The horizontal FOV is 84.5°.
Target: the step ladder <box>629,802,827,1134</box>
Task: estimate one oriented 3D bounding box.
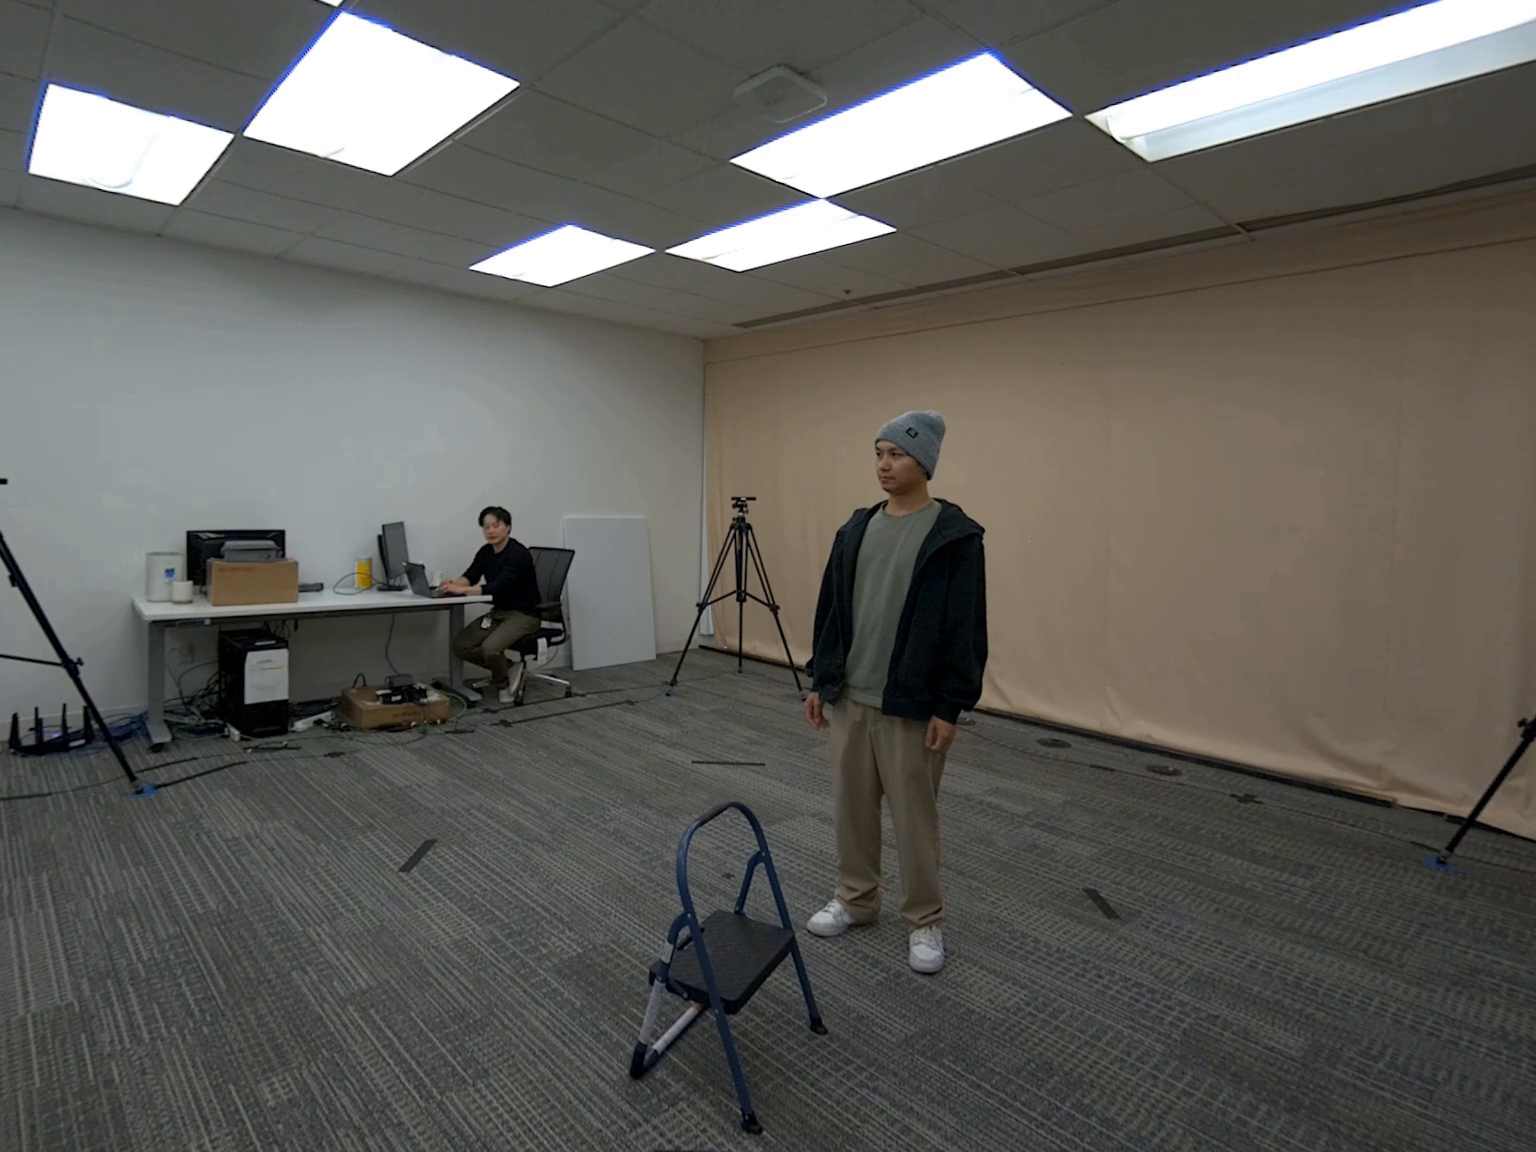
[{"bbox_3d":[-0.095,0.904,2.088,0.356,0.604,0.423,4,4,26],"label":"step ladder"}]
